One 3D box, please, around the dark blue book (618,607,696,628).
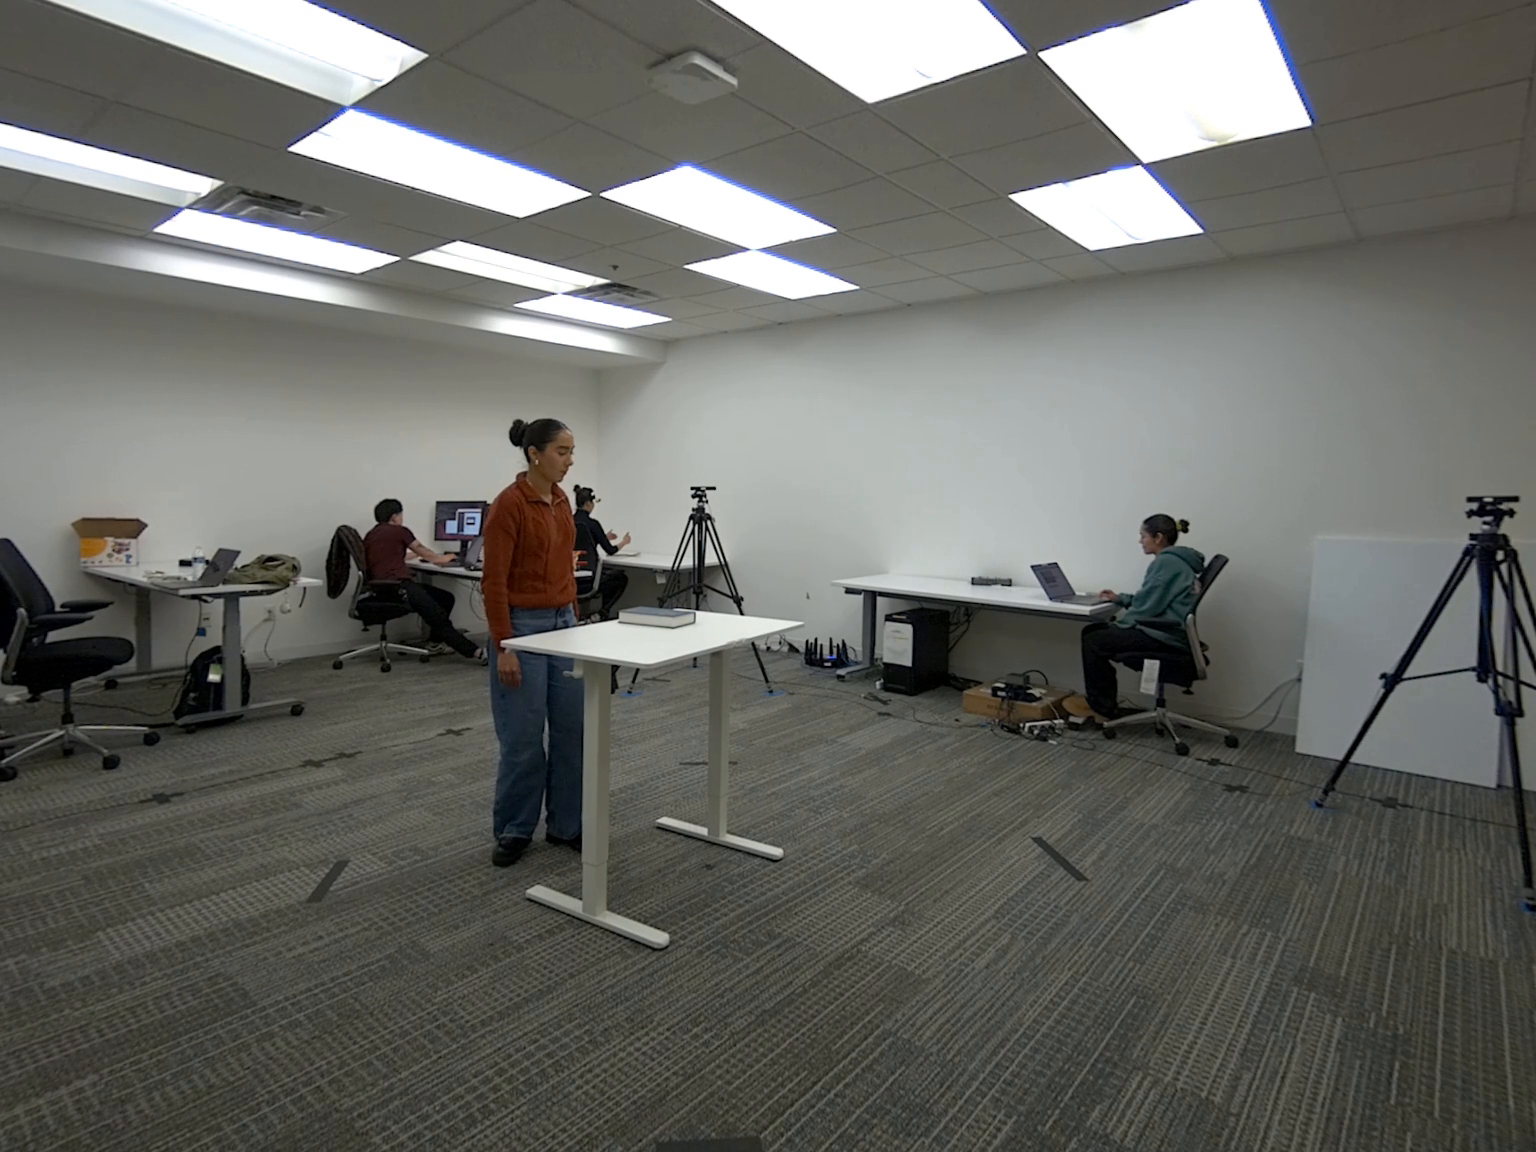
[{"bbox_3d":[-0.424,0.153,3.169,0.251,0.045,0.160,3,6,25],"label":"dark blue book"}]
